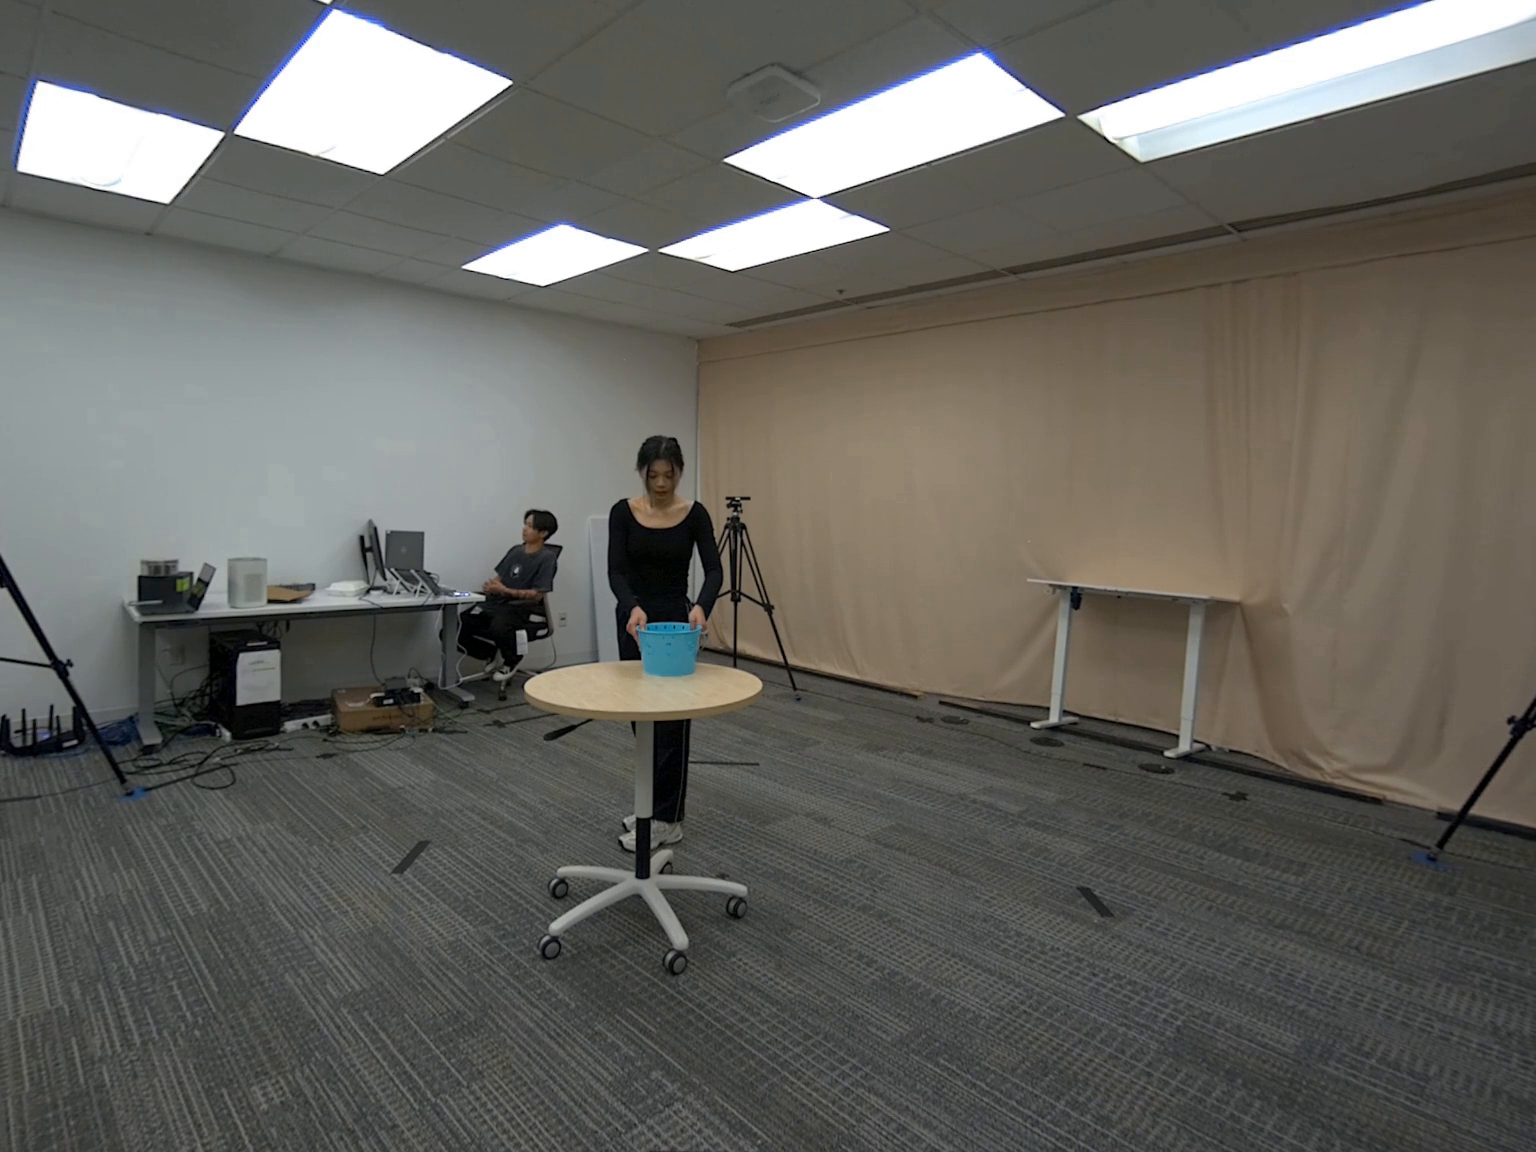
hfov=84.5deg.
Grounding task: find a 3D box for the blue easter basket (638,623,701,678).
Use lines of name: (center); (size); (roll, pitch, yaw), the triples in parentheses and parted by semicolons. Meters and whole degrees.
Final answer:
blue easter basket: (-0.355, 0.259, 2.932); (0.243, 0.155, 0.244); (-1, 5, -1)
